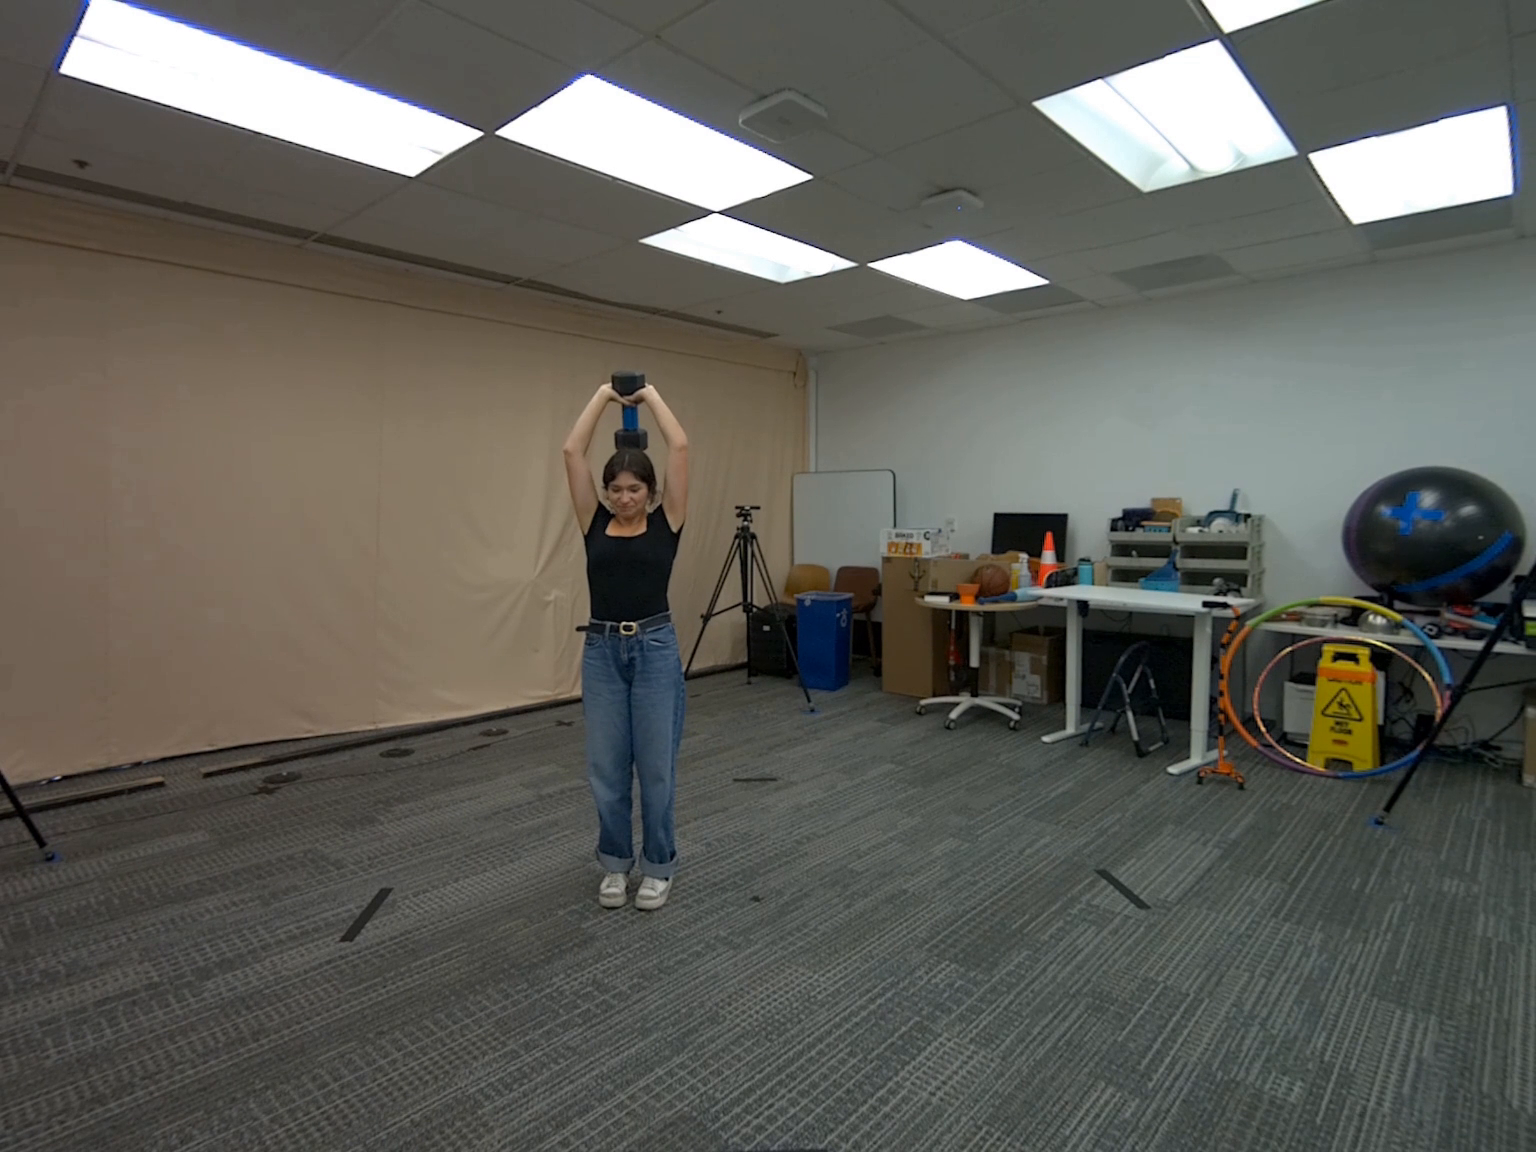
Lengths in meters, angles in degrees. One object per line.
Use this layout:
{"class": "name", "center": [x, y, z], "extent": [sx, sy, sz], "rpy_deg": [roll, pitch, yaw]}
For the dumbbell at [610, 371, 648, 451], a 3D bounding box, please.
{"class": "dumbbell", "center": [-0.512, -0.600, 3.101], "extent": [0.112, 0.290, 0.121], "rpy_deg": [7, 22, 28]}
